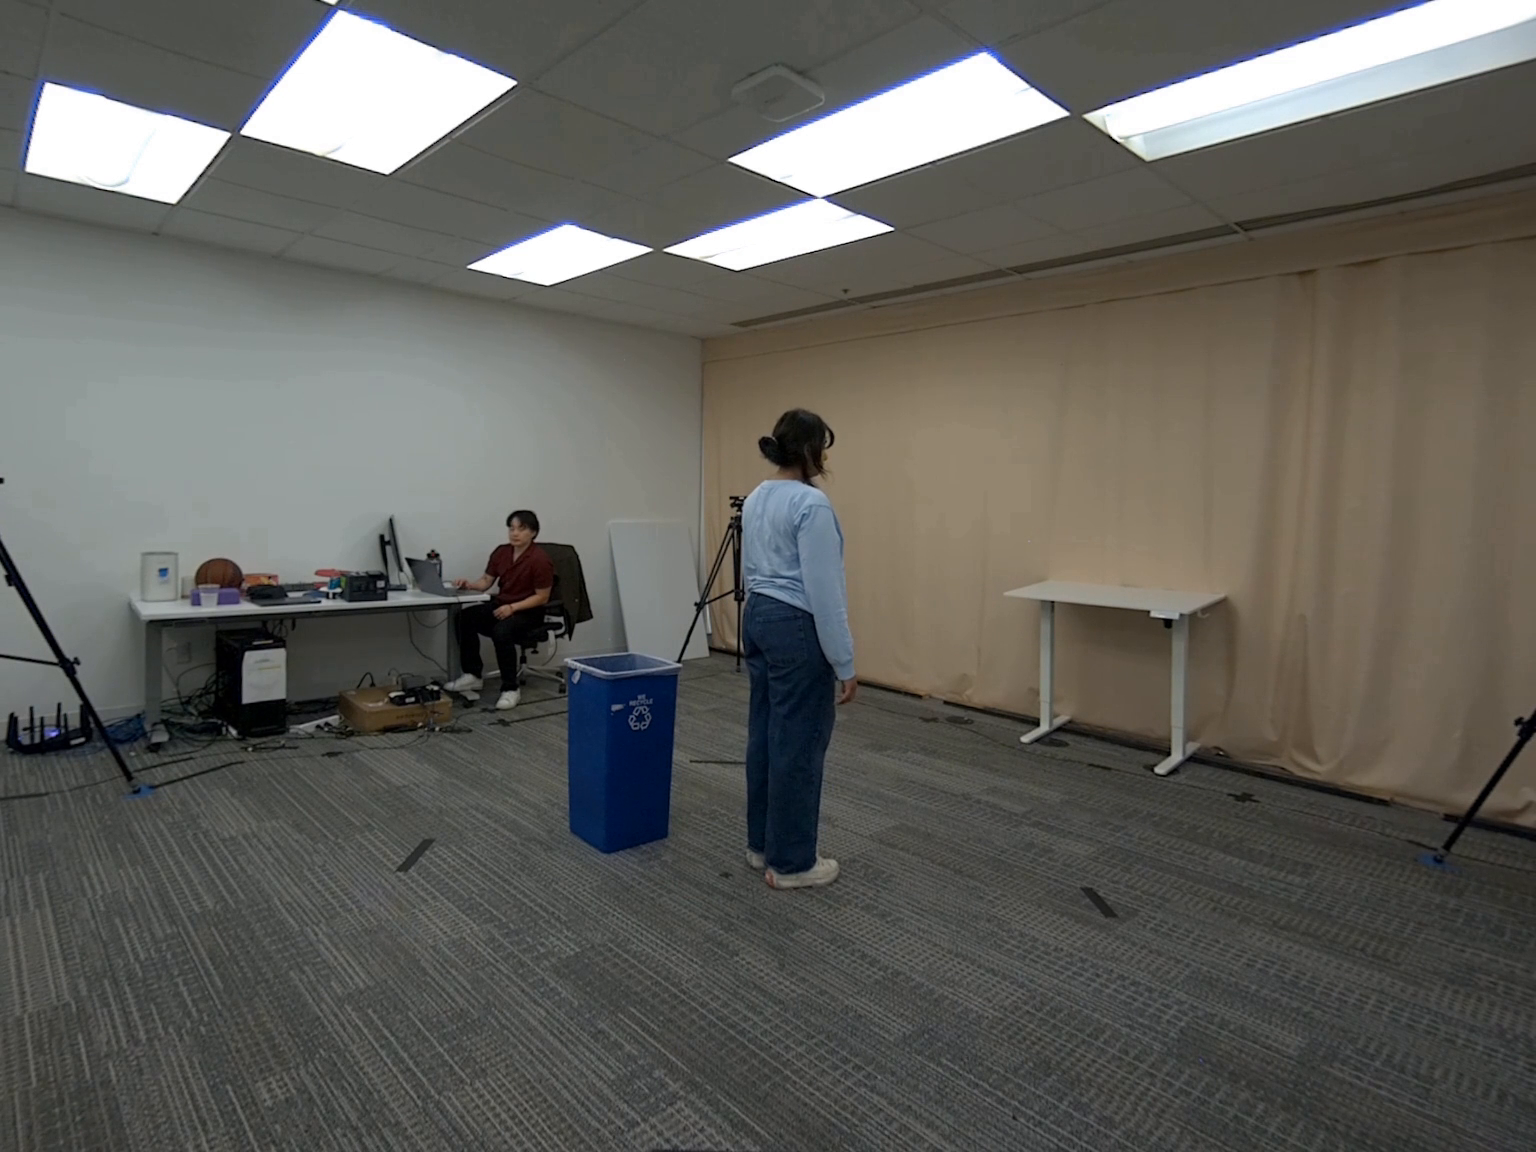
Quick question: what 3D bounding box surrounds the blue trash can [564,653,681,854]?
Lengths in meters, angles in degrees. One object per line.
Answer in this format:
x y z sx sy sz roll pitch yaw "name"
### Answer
-0.605 0.705 3.458 0.365 0.712 0.388 -1 5 -40 "blue trash can"
